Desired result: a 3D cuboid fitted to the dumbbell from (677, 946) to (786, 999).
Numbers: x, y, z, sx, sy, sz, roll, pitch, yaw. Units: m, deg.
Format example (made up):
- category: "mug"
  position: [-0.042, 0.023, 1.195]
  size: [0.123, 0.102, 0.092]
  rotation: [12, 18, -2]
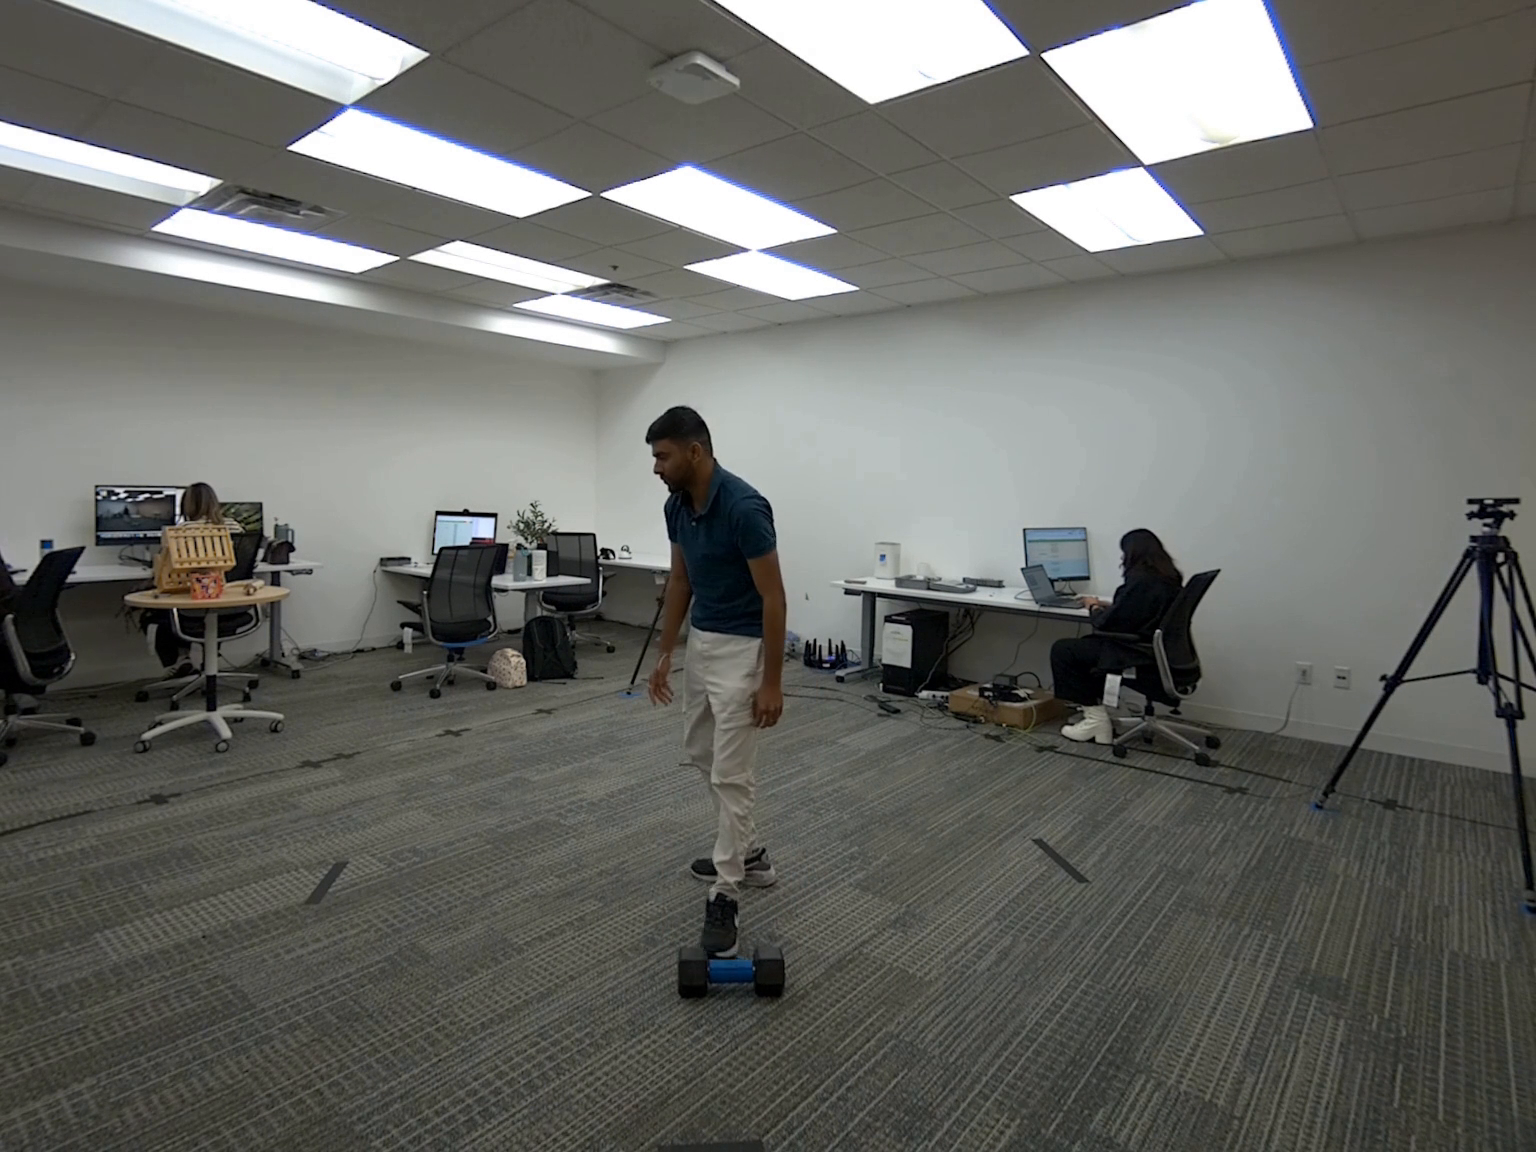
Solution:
- category: "dumbbell"
  position: [-0.109, 1.093, 2.361]
  size: [0.292, 0.126, 0.106]
  rotation: [1, -27, -4]
